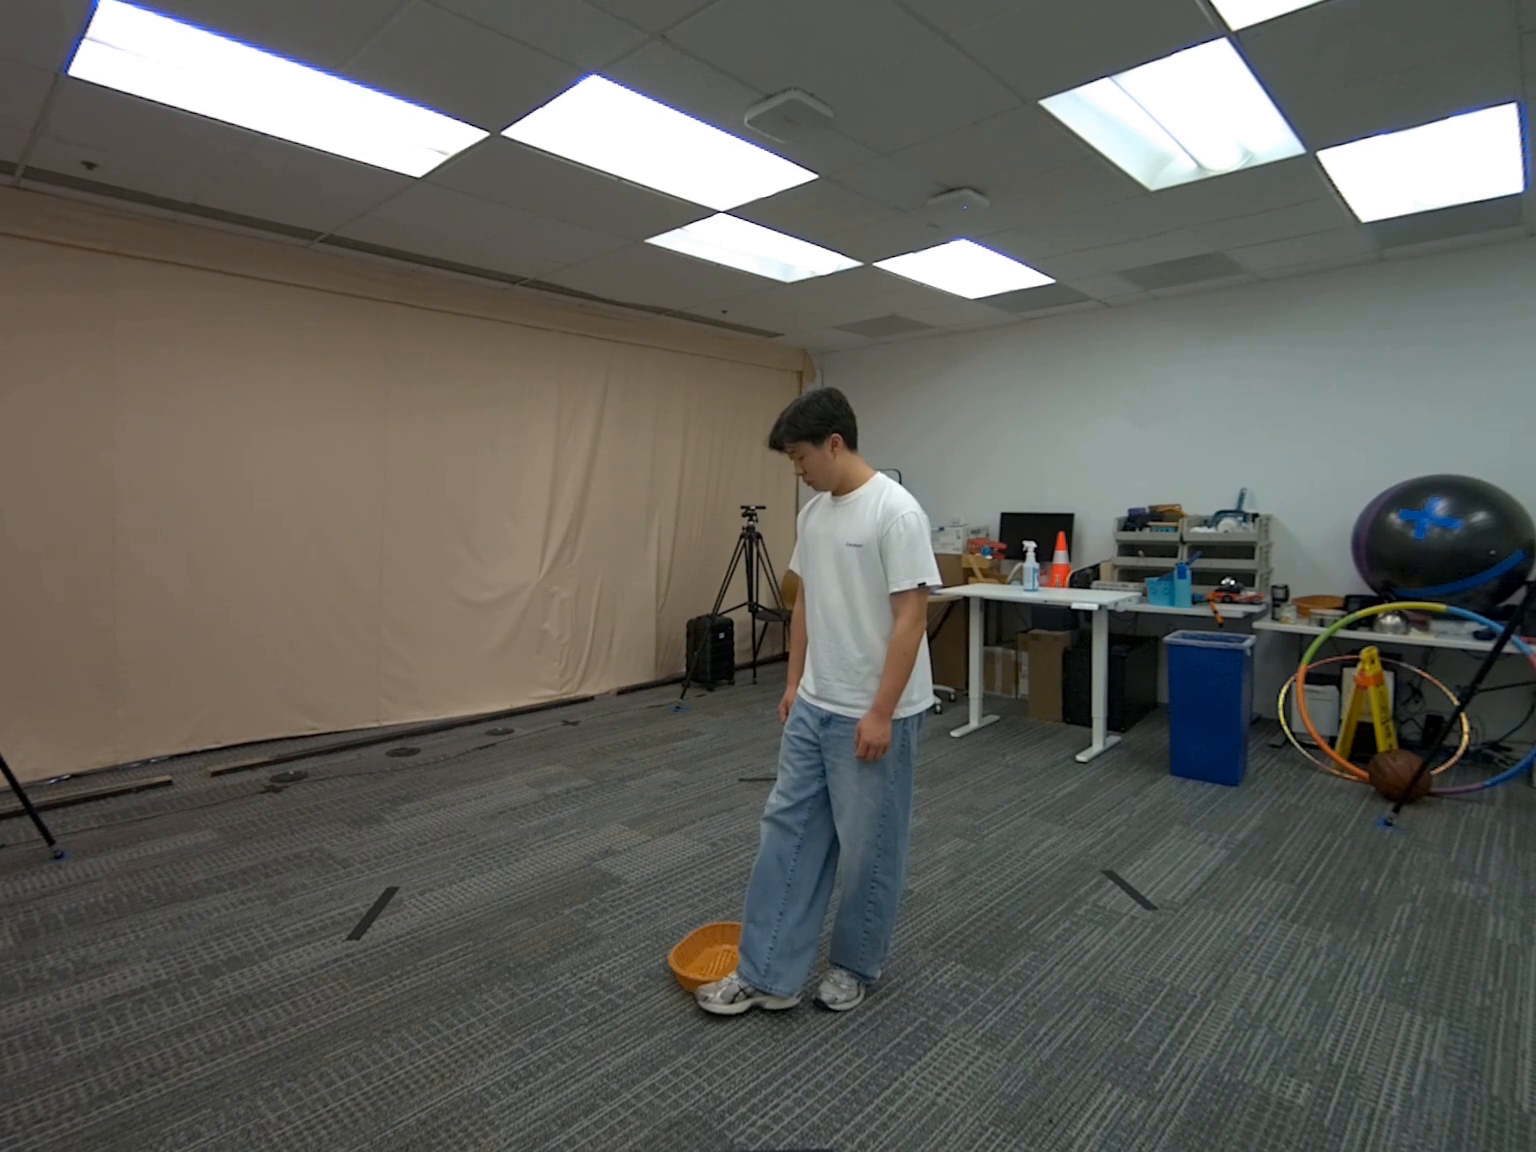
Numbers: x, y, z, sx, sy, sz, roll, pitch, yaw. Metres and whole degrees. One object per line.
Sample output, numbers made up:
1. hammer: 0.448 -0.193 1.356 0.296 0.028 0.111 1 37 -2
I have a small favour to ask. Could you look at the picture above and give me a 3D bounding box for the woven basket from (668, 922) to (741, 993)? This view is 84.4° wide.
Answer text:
1. woven basket: -0.140 1.141 2.537 0.260 0.073 0.341 2 4 30
